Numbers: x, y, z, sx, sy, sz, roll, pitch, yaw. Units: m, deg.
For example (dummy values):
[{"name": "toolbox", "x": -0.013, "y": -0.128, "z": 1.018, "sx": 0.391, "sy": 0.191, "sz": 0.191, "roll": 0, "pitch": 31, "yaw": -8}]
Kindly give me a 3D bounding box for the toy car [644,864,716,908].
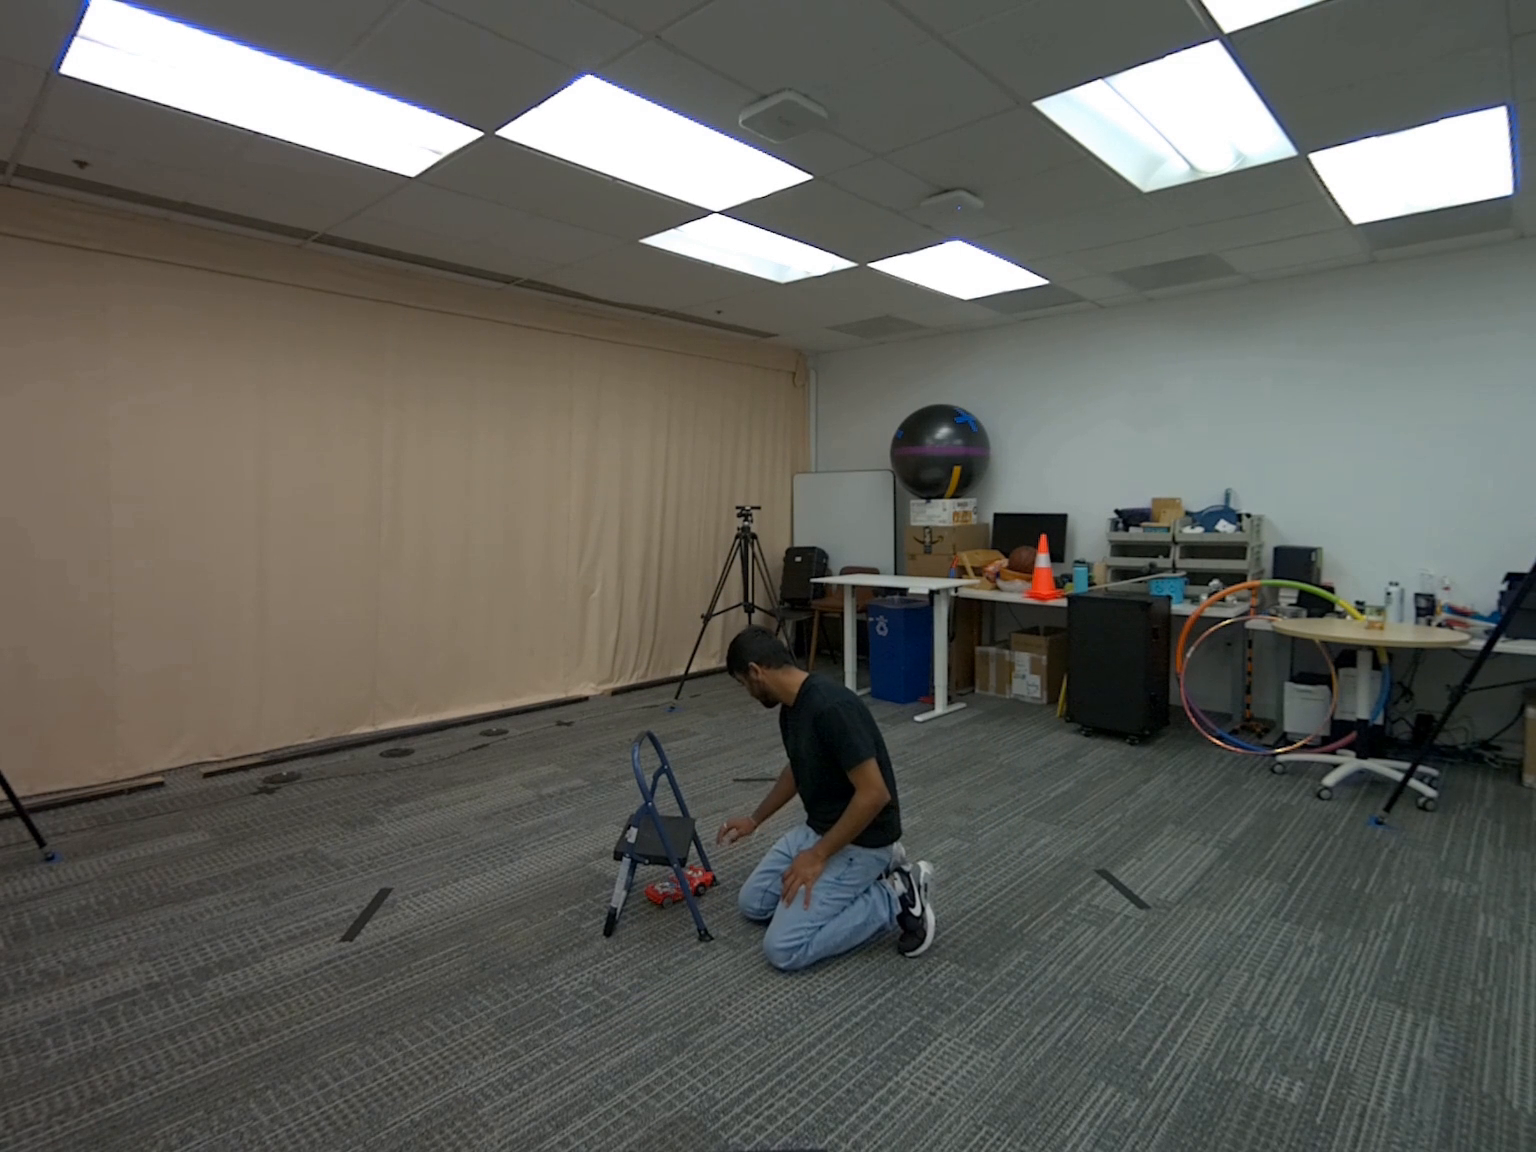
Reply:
[{"name": "toy car", "x": -0.310, "y": 1.116, "z": 3.014, "sx": 0.248, "sy": 0.082, "sz": 0.134, "roll": -18, "pitch": 14, "yaw": -37}]
